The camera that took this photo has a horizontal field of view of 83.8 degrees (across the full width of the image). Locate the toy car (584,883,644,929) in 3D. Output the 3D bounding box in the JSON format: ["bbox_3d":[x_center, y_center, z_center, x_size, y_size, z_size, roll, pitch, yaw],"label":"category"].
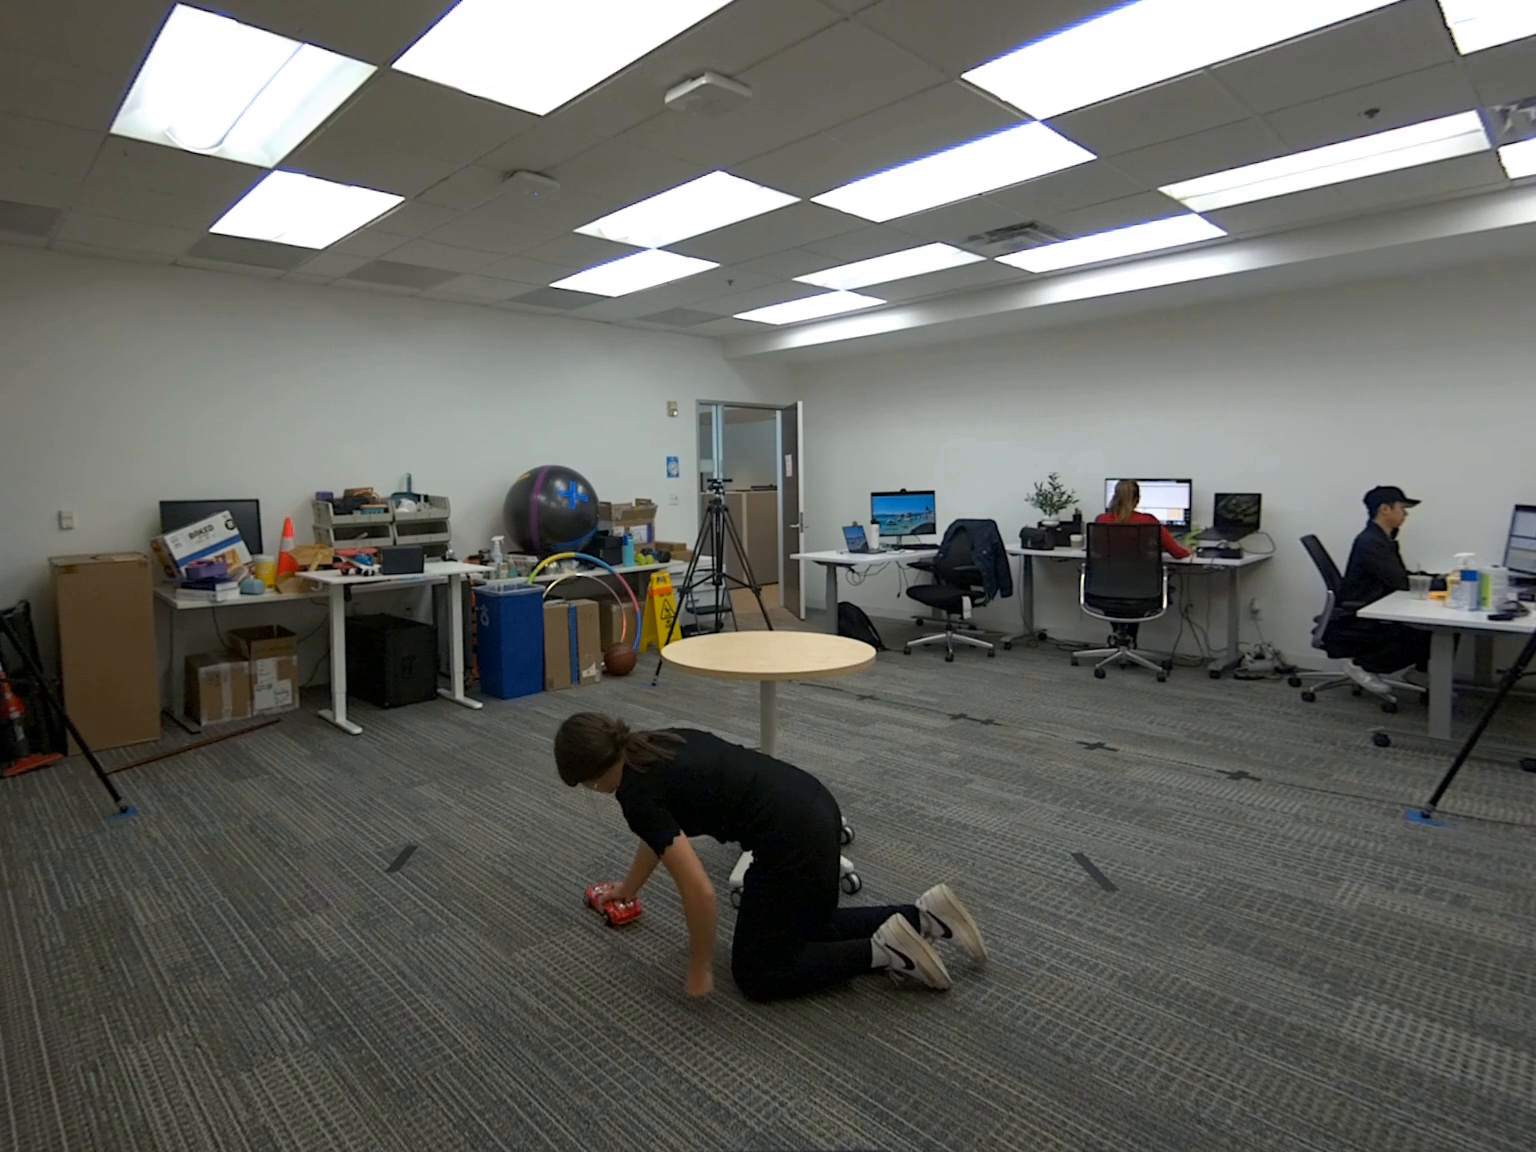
[{"bbox_3d":[-0.495,1.065,2.757,0.127,0.083,0.260,-4,-3,-35],"label":"toy car"}]
